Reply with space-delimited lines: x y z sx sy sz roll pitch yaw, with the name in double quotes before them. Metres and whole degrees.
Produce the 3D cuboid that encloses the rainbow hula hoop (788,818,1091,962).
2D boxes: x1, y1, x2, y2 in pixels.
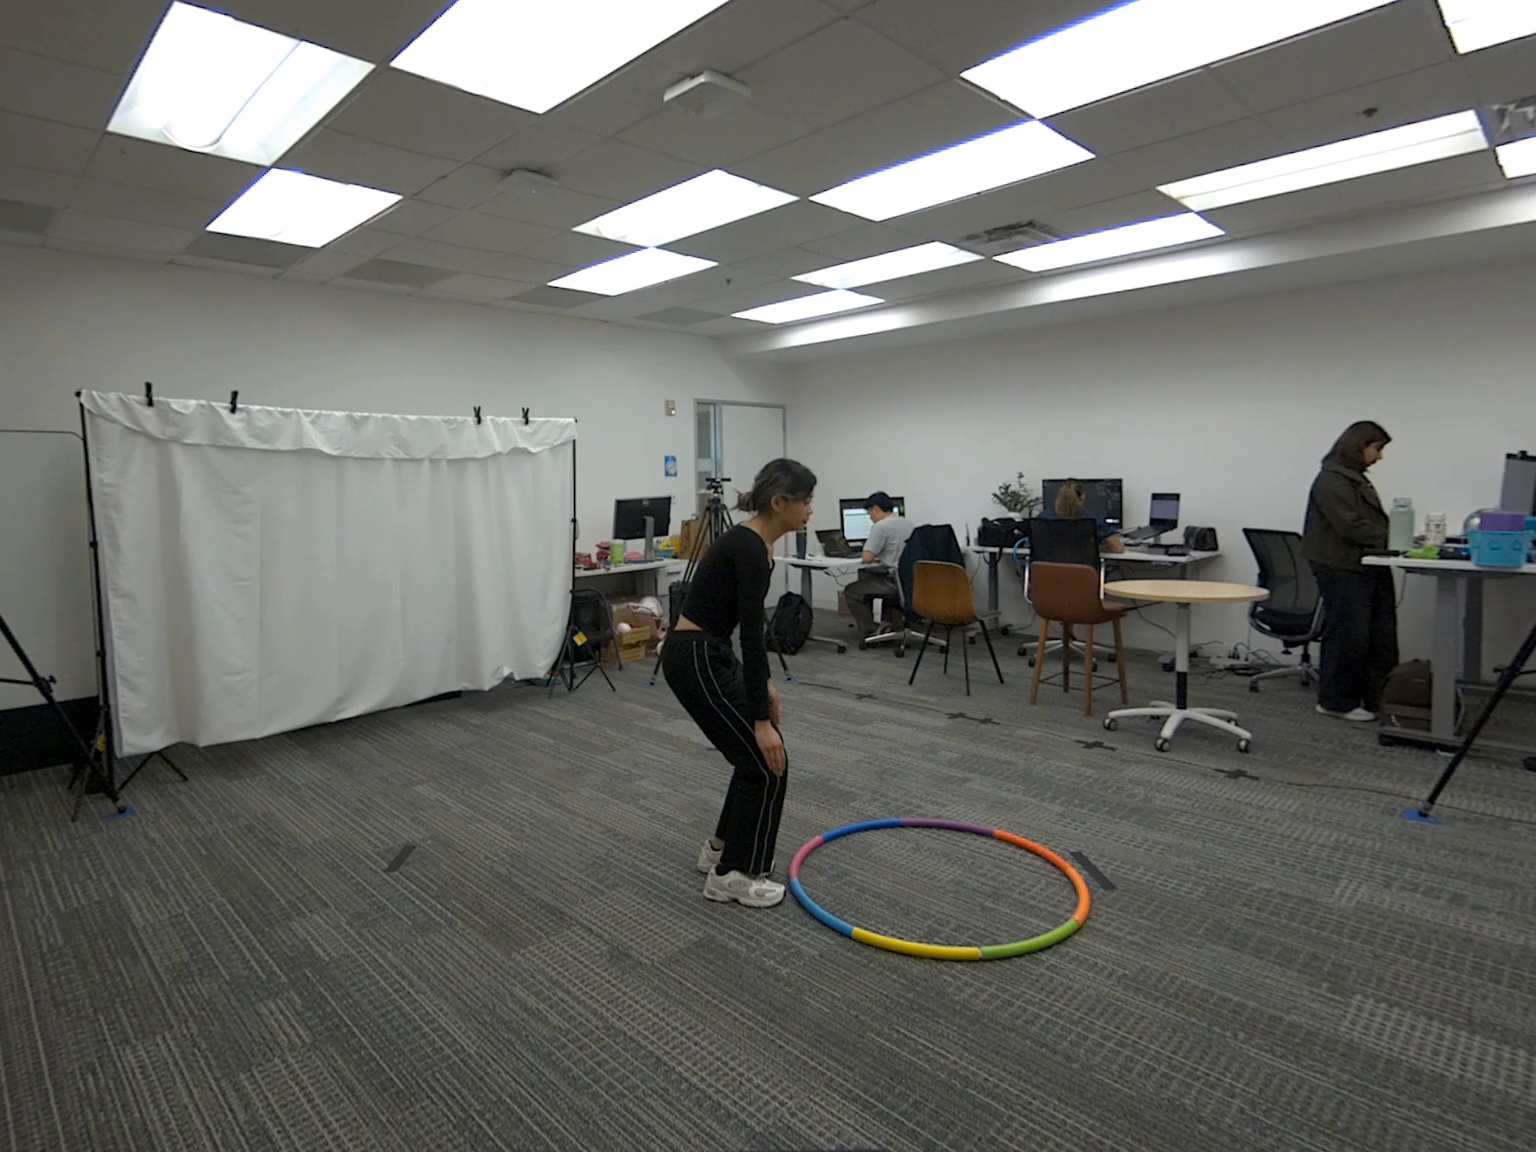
"rainbow hula hoop" 0.567 1.026 2.935 0.978 0.035 0.984 -2 6 -2
